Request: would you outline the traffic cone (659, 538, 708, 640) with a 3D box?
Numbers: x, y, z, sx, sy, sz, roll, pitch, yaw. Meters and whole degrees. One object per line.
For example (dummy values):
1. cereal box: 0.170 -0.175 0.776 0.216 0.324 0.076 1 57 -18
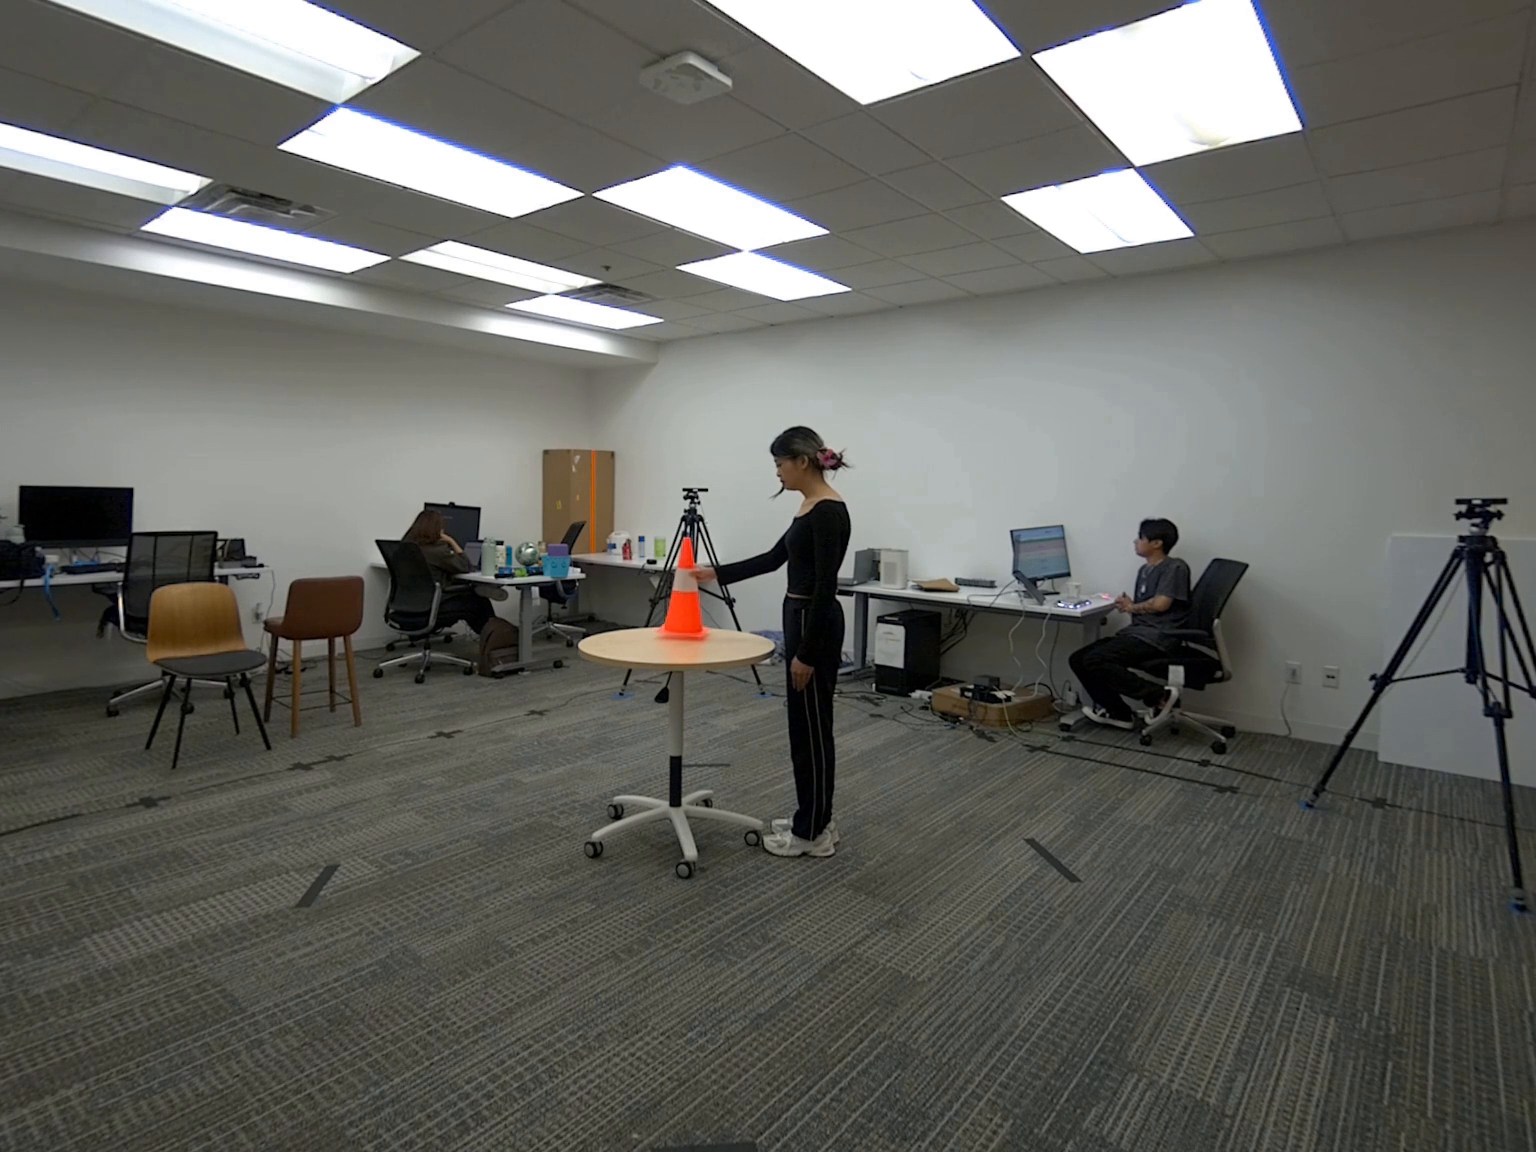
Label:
1. traffic cone: -0.340 0.033 3.466 0.205 0.382 0.204 7 5 5
